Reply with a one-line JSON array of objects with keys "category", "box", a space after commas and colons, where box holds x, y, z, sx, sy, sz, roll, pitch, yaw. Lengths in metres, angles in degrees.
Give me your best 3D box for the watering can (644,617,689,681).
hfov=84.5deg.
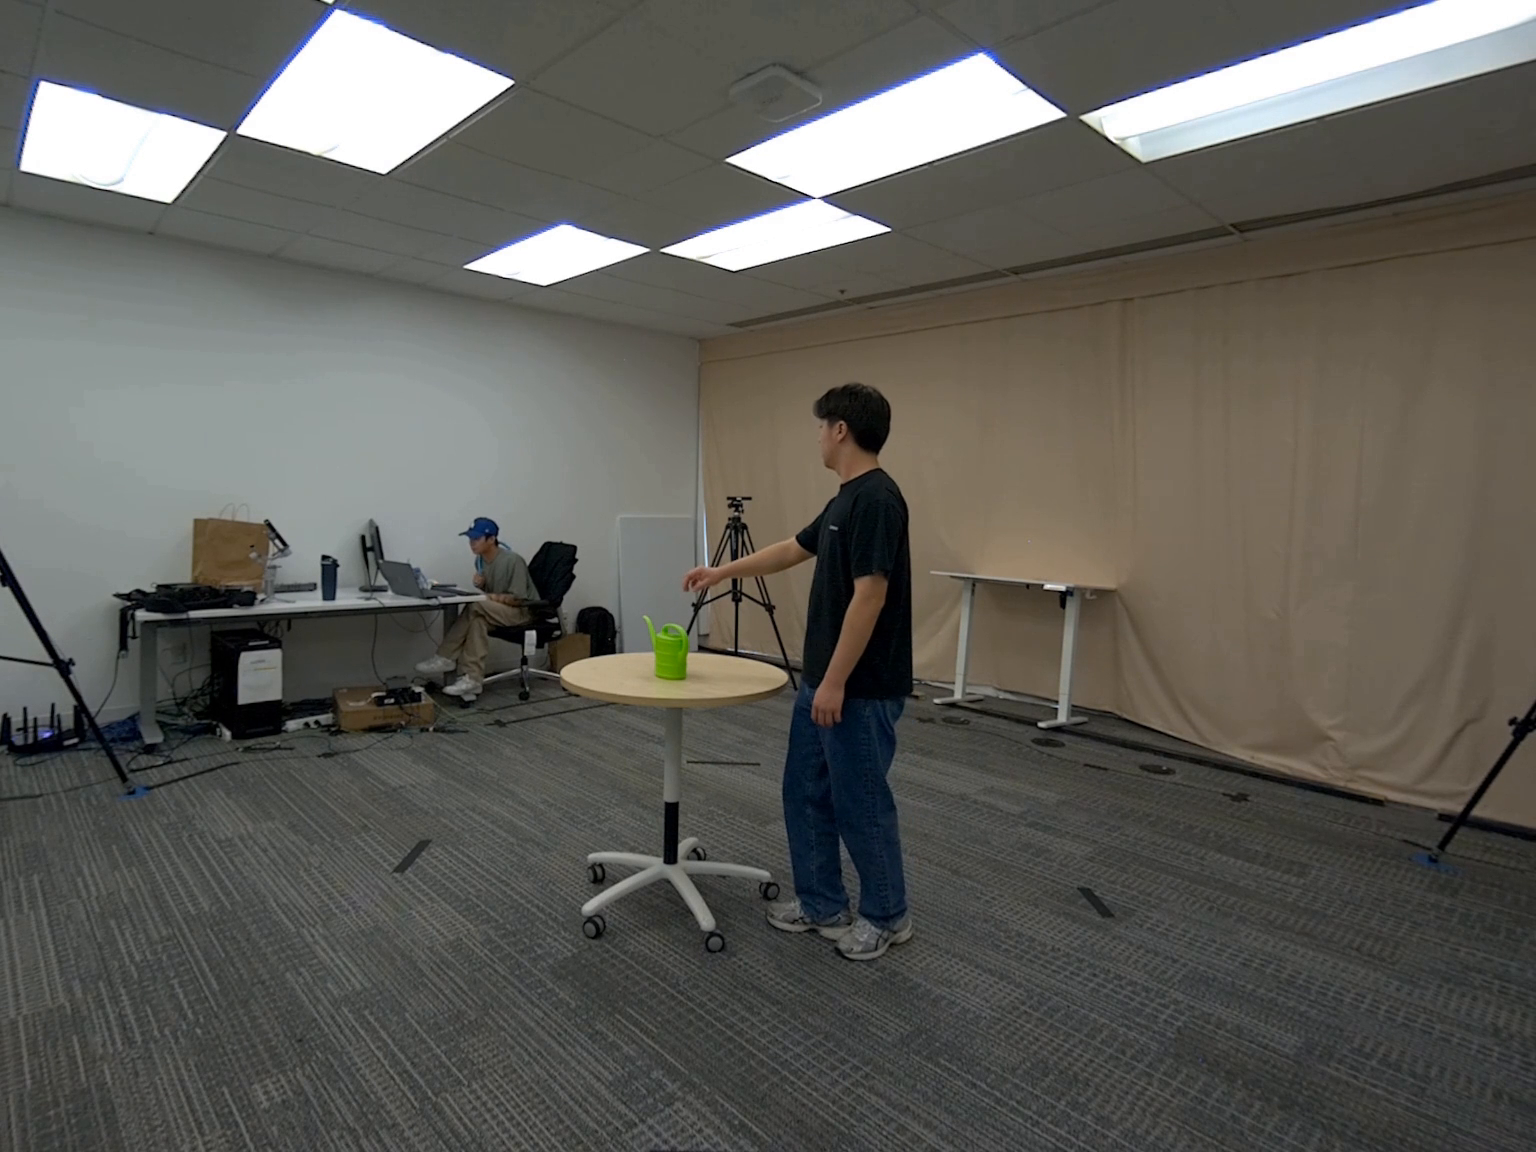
[{"category": "watering can", "box": [-0.350, 0.246, 2.821, 0.096, 0.176, 0.284, 3, 5, -26]}]
